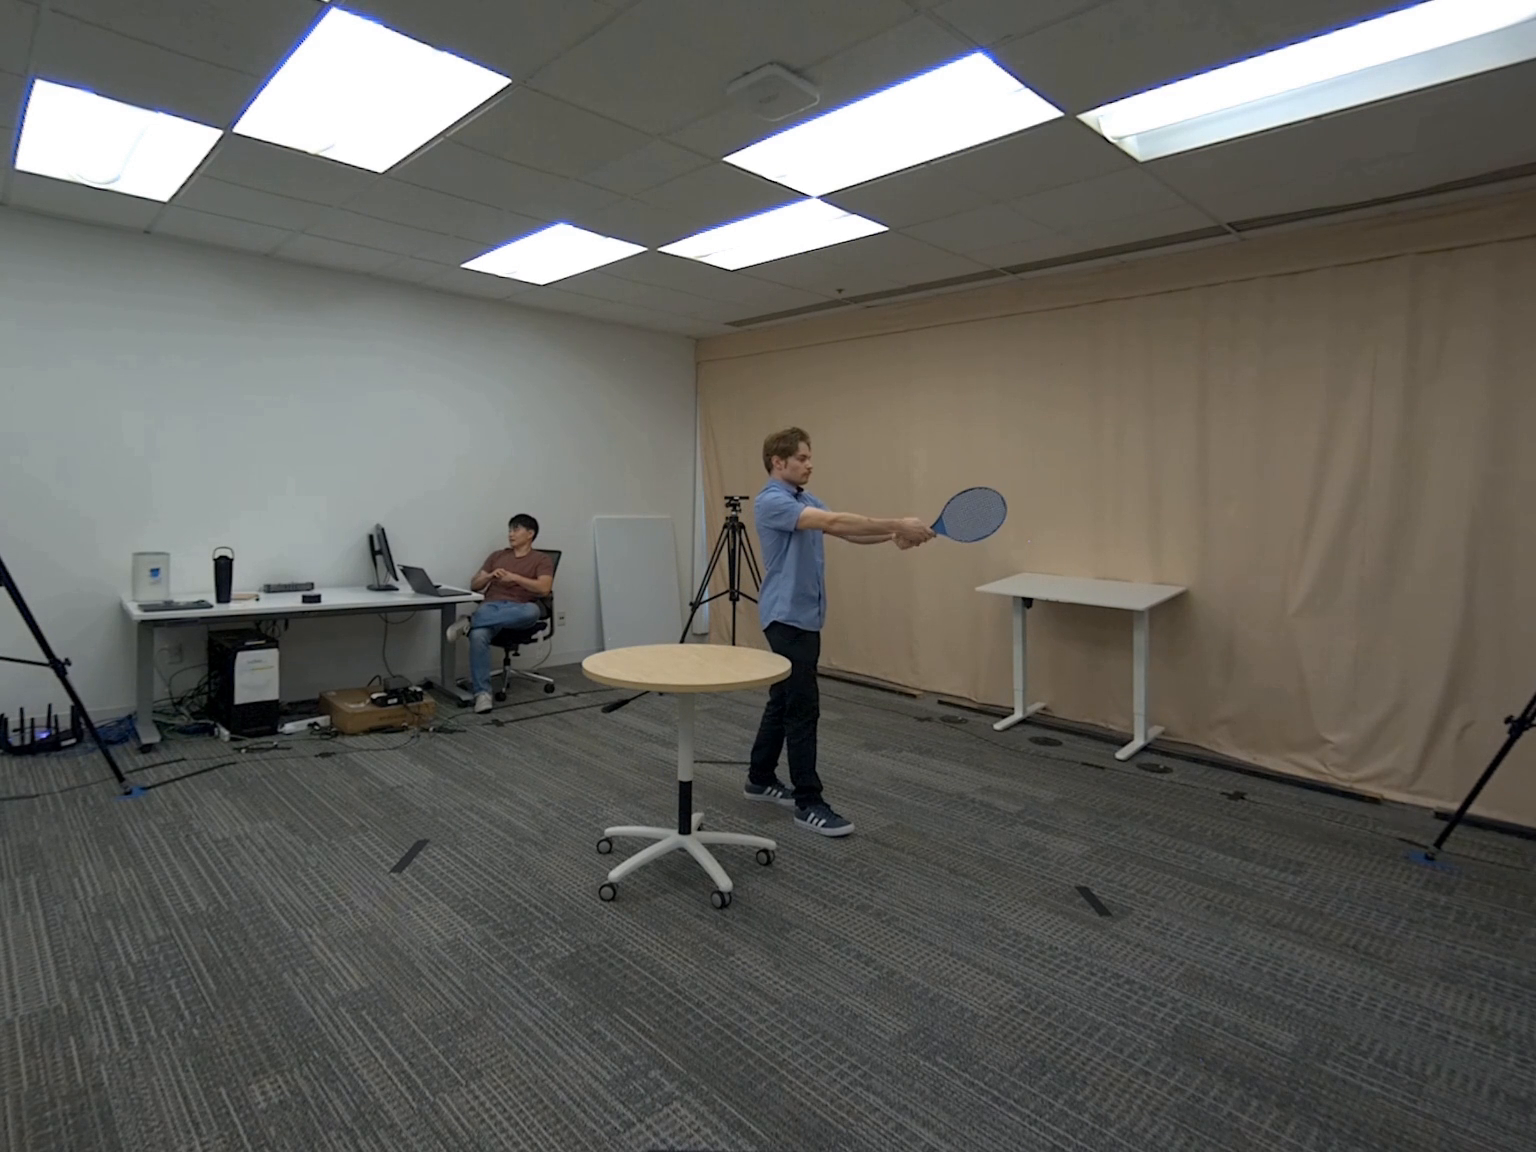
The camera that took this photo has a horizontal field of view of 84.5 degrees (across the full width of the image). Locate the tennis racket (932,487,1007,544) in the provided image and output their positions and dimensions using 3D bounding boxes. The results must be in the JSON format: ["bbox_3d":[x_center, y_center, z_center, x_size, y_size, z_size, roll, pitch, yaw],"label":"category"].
[{"bbox_3d":[0.732,-0.210,3.346,0.437,0.217,0.031,-27,-22,27],"label":"tennis racket"}]
